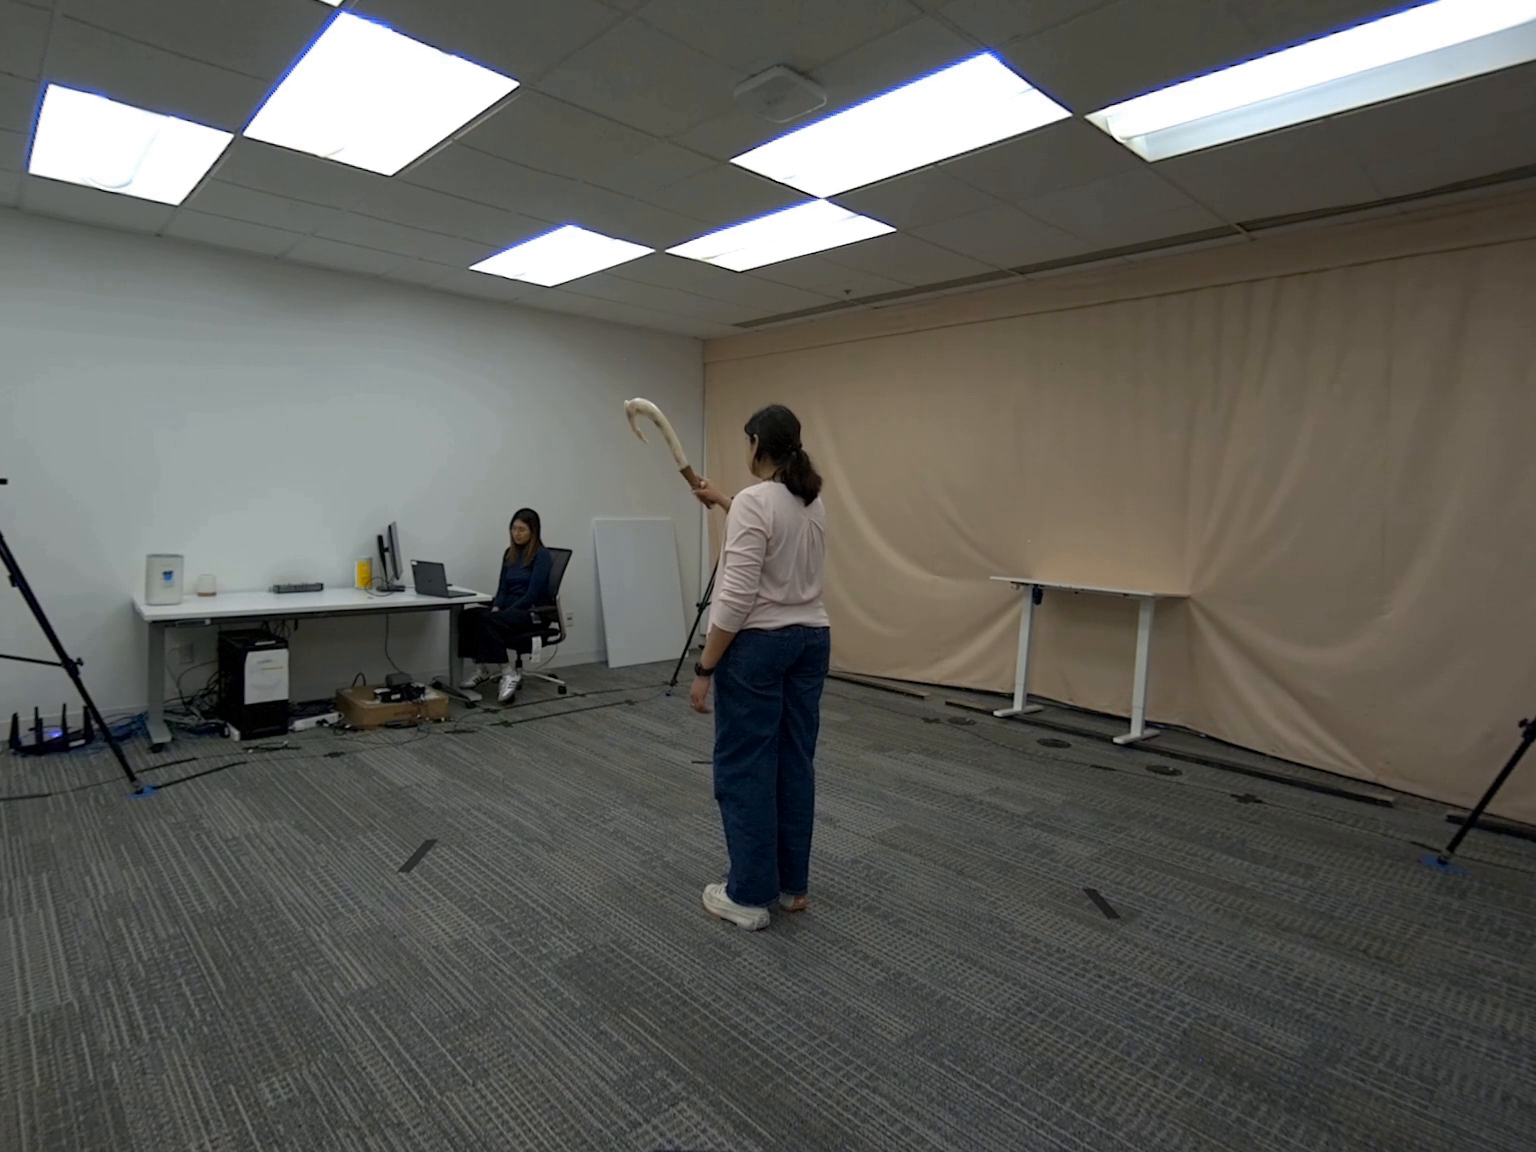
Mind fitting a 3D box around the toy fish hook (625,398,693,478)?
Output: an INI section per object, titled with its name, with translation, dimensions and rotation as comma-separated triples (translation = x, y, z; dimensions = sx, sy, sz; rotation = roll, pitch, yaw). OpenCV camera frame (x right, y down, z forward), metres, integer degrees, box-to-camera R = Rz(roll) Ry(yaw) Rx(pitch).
[toy fish hook]
translation = -0.374, -0.434, 3.147
dimensions = 0.048, 0.494, 0.230
rotation = -45, 28, -23
